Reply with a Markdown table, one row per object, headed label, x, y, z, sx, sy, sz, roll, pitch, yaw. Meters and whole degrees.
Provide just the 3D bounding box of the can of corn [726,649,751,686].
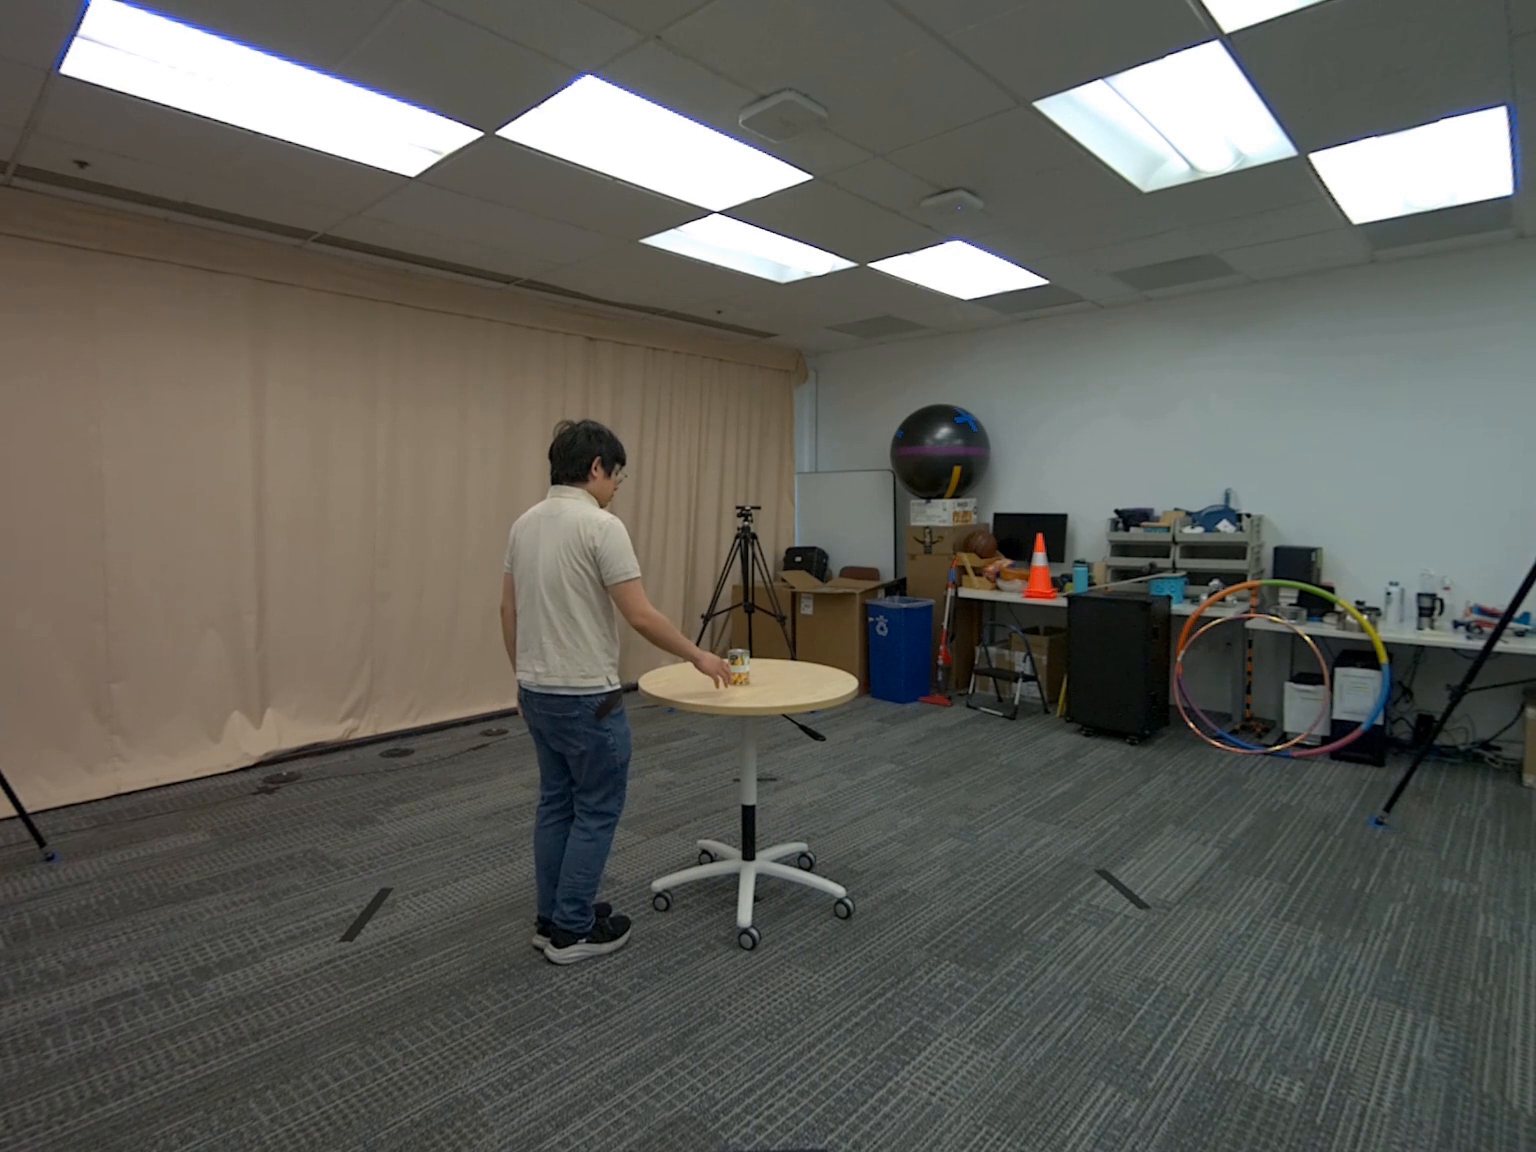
| label | x | y | z | sx | sy | sz | roll | pitch | yaw |
| --- | --- | --- | --- | --- | --- | --- | --- | --- | --- |
| can of corn | -0.094 | 0.314 | 2.887 | 0.074 | 0.111 | 0.074 | 0 | 4 | -2 |
